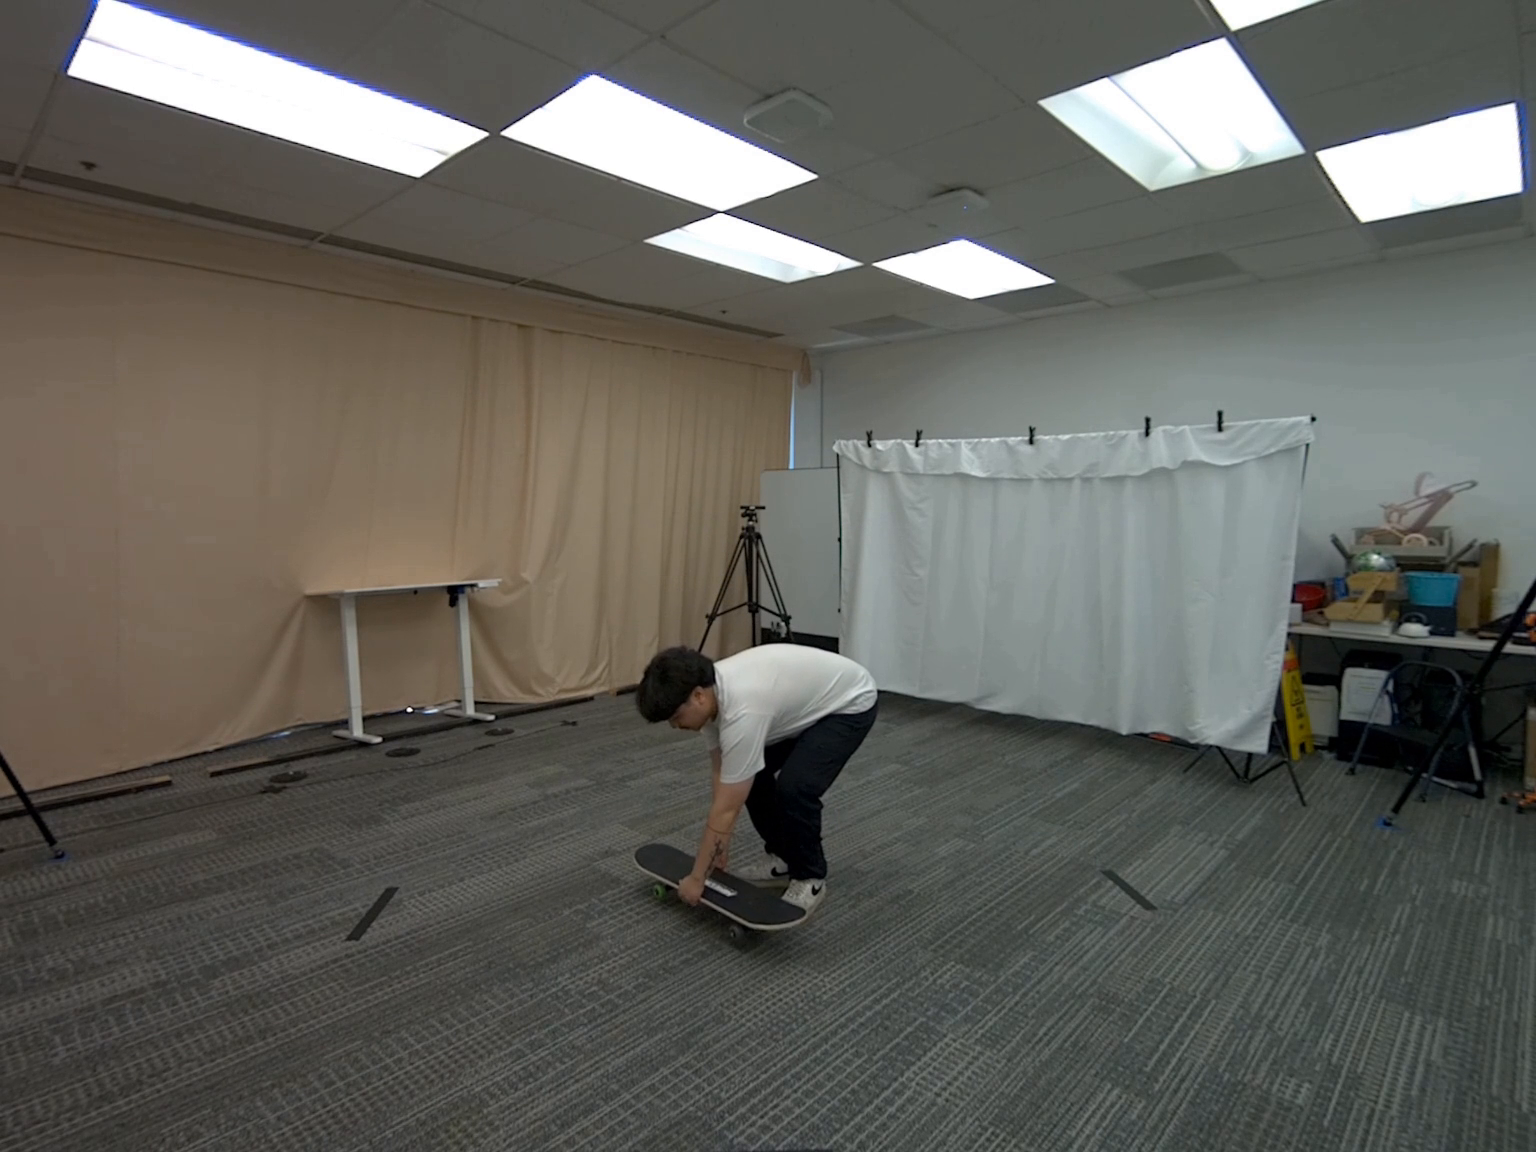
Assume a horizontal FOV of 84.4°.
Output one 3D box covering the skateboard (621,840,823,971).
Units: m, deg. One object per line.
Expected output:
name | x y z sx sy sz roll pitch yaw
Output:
skateboard | -0.181 1.069 2.823 0.187 0.110 0.811 -5 6 -43
